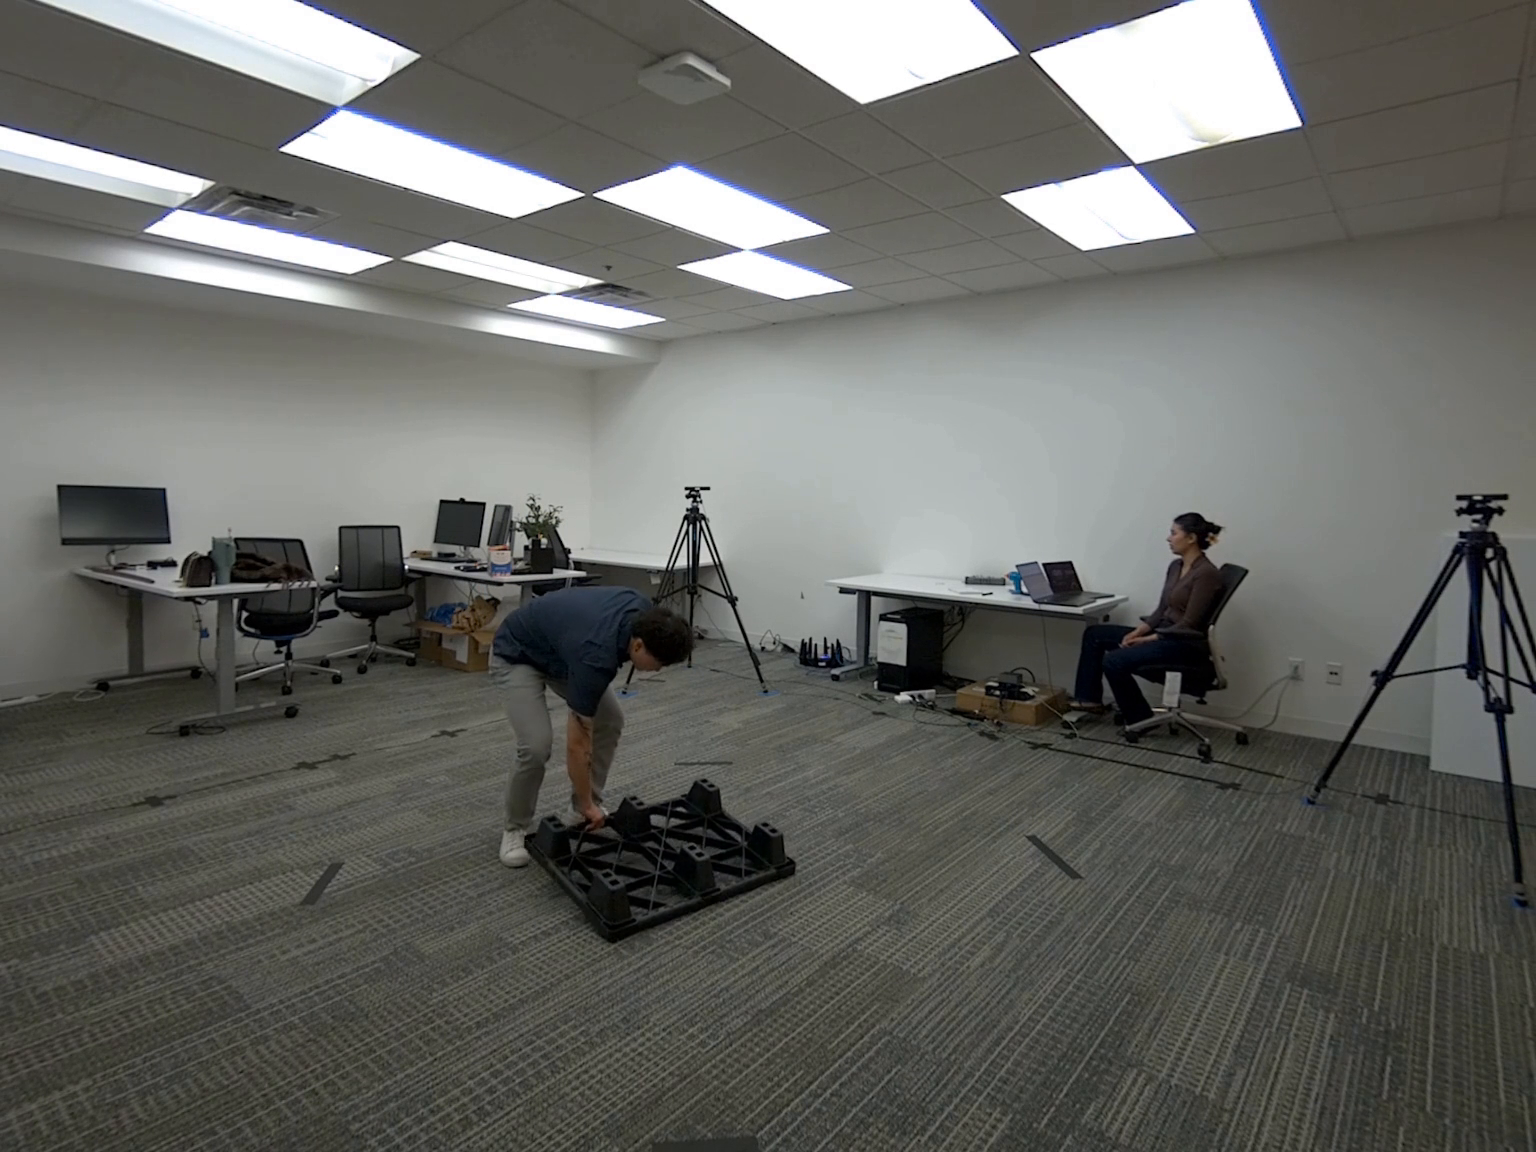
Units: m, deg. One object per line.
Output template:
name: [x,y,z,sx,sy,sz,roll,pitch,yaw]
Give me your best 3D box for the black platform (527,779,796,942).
black platform: [-0.383,0.951,3.043,0.781,0.142,0.629,-4,17,-41]
